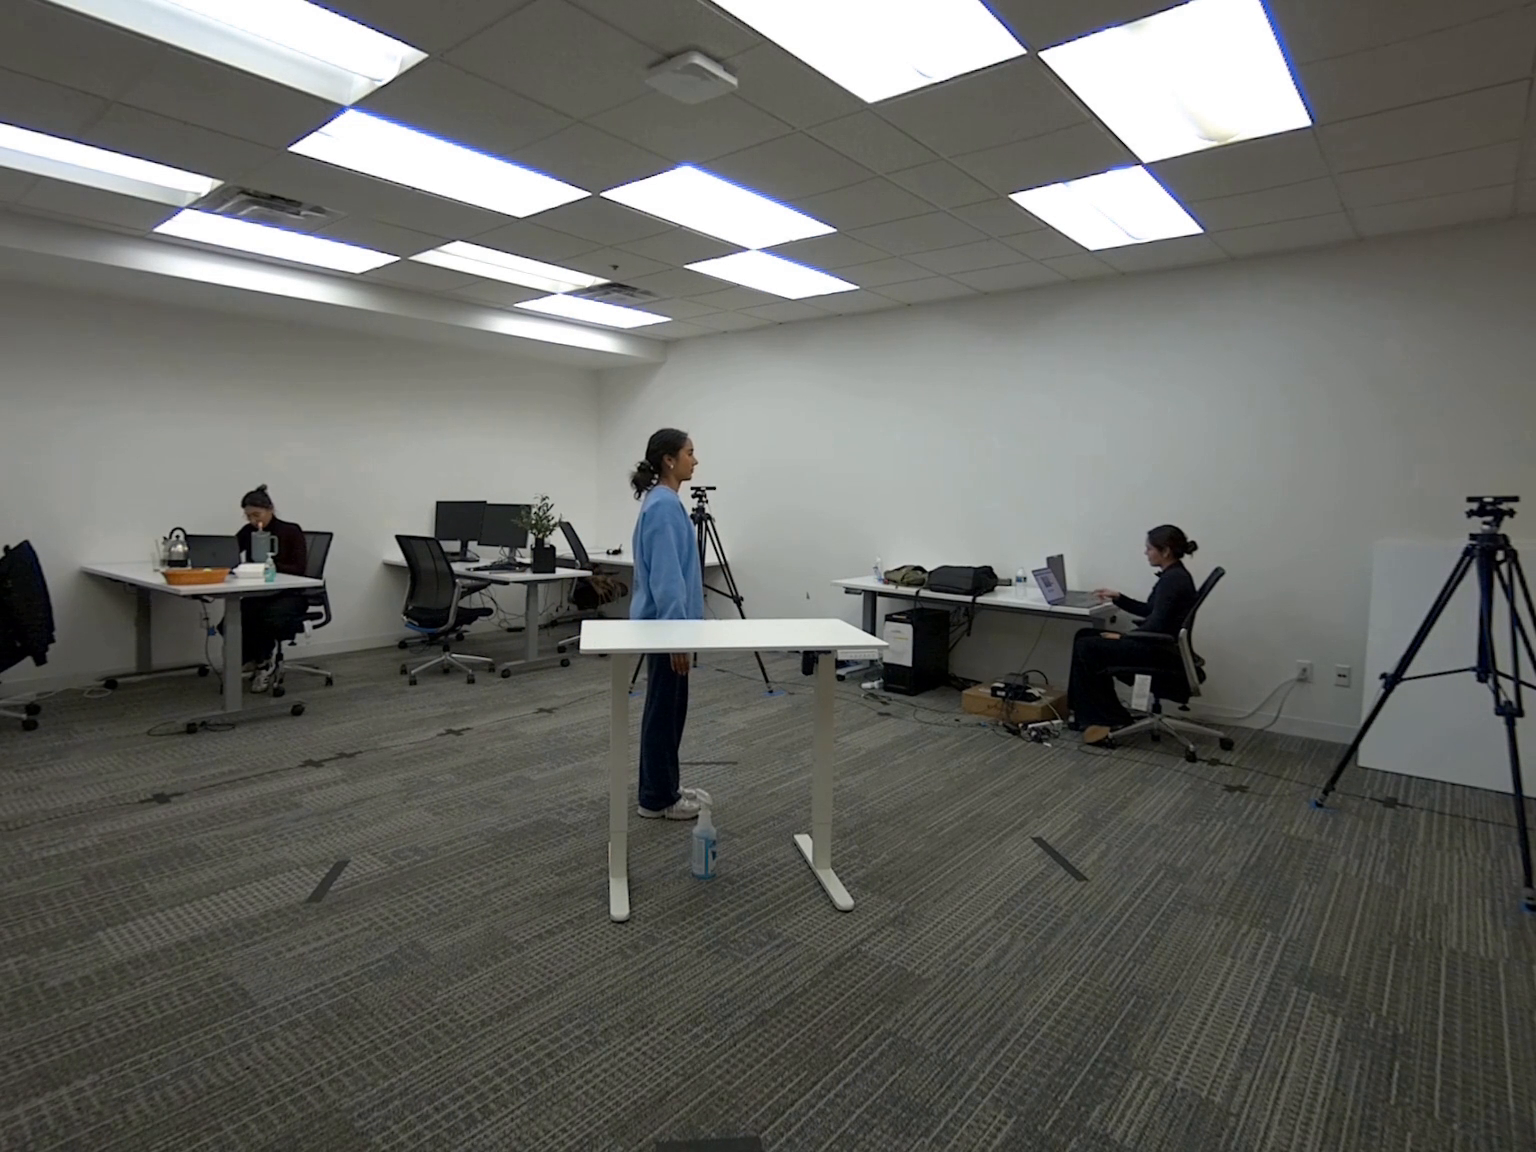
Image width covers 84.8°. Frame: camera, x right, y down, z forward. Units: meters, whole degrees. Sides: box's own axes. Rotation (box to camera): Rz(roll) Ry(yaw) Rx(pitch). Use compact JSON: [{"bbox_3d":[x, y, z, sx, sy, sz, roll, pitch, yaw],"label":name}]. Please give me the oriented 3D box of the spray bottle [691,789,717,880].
[{"bbox_3d":[-0.238,0.923,3.061,0.086,0.296,0.091,-3,4,-14],"label":"spray bottle"}]
